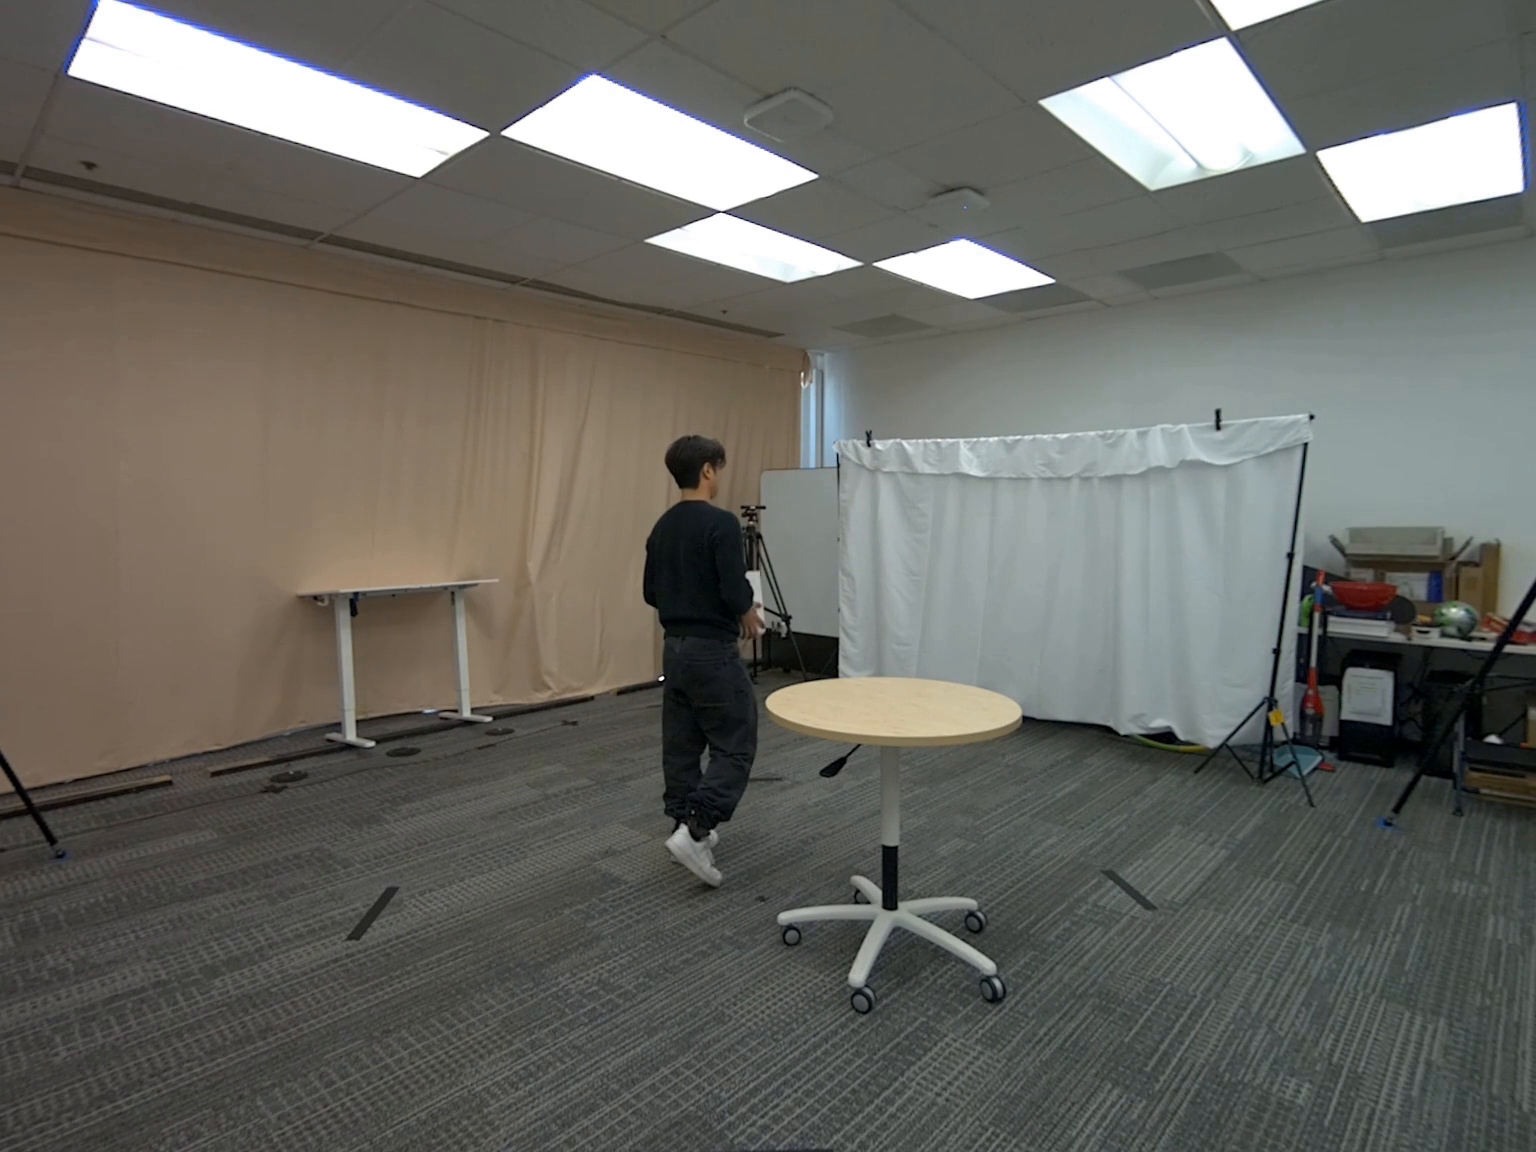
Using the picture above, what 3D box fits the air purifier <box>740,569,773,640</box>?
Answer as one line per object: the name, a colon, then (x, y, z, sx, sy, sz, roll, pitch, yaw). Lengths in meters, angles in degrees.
air purifier: (-0.118, 0.115, 3.429, 0.166, 0.266, 0.177, -3, -3, -45)
